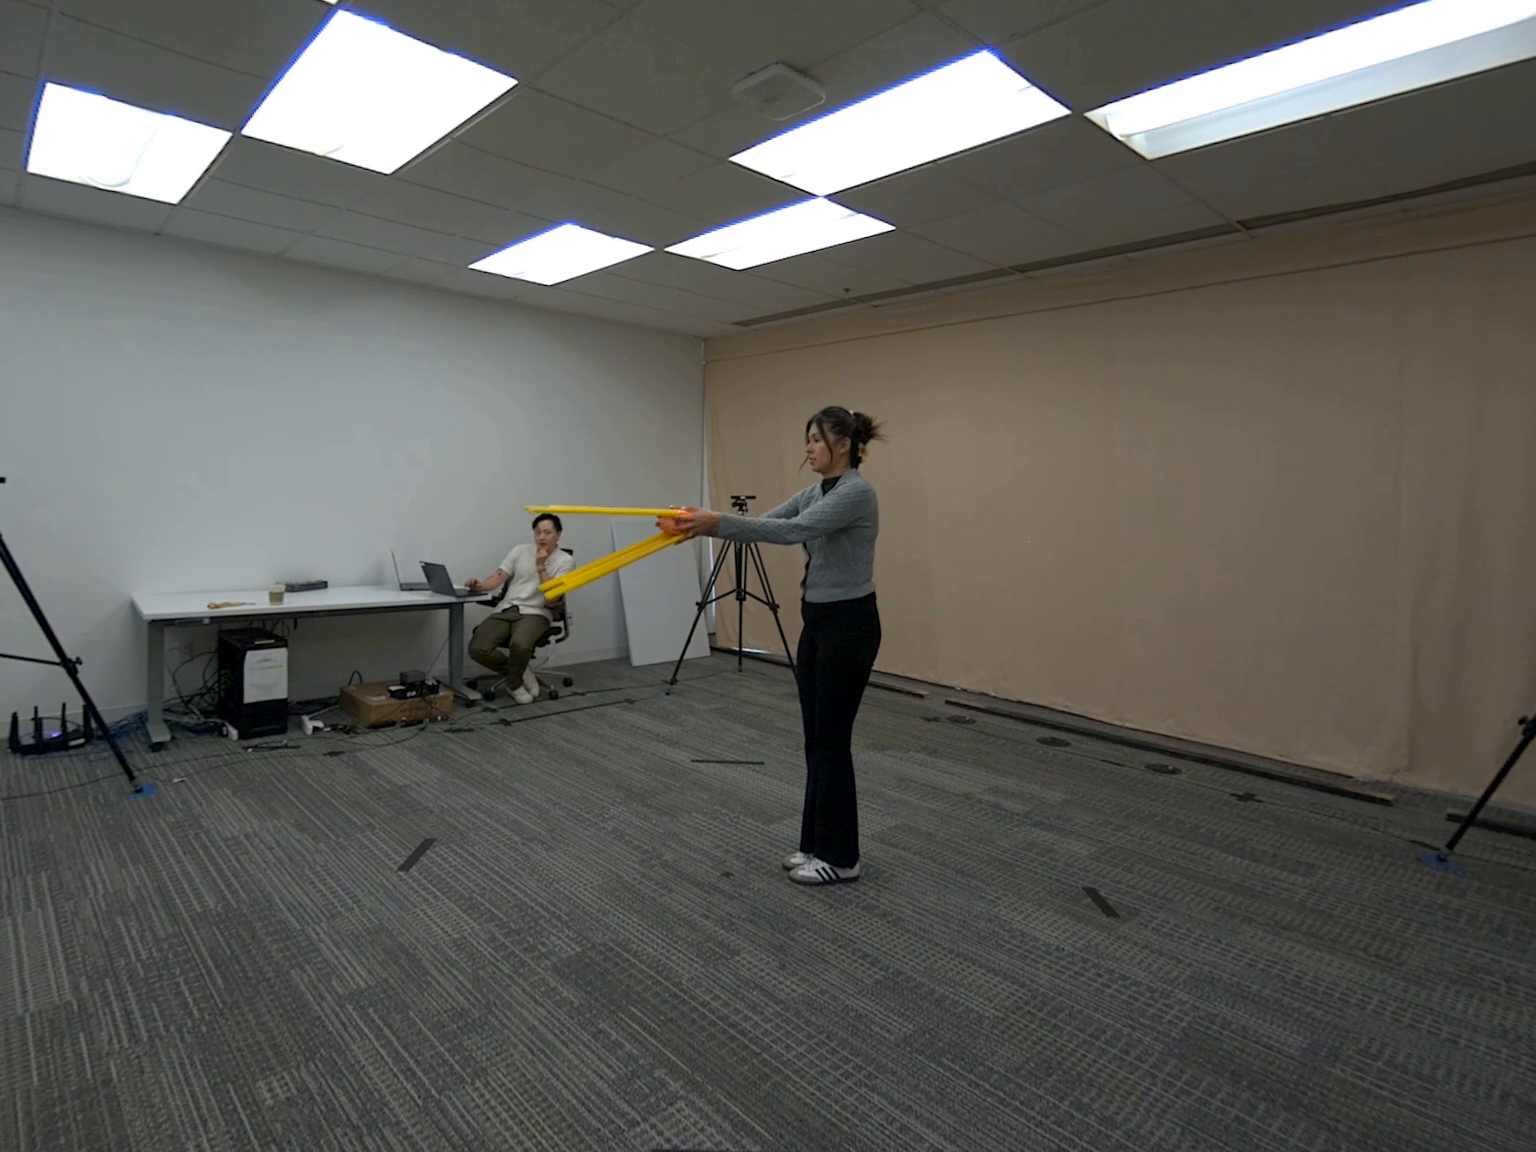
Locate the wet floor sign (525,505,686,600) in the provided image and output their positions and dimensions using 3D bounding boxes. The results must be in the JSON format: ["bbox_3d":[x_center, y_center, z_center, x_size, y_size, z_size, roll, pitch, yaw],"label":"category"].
[{"bbox_3d":[-0.472,-0.148,2.857,0.639,0.287,0.287,-13,10,-19],"label":"wet floor sign"}]
